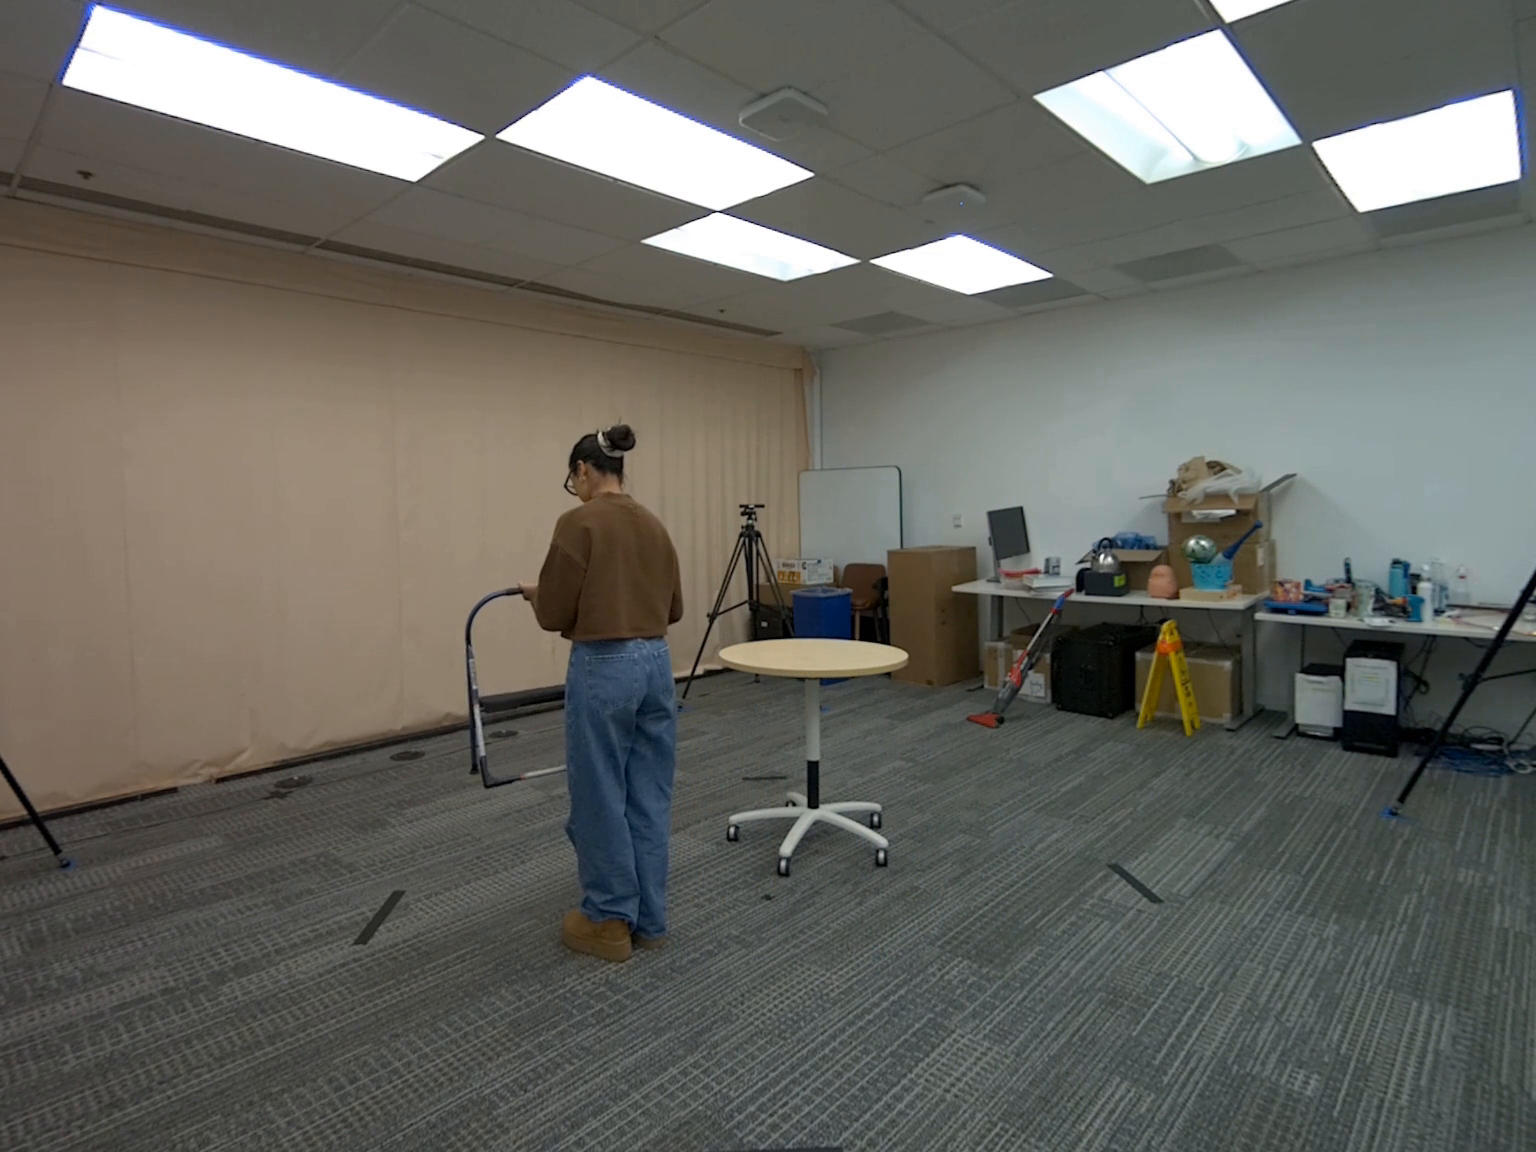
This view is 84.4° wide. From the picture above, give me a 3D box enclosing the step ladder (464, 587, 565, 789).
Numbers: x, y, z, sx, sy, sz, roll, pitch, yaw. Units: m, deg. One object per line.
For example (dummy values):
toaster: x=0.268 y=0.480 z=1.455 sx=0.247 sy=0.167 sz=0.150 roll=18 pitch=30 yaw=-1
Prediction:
step ladder: x=-0.797 y=0.350 z=2.832 sx=0.421 sy=0.608 sz=0.356 roll=-5 pitch=-3 yaw=-26
